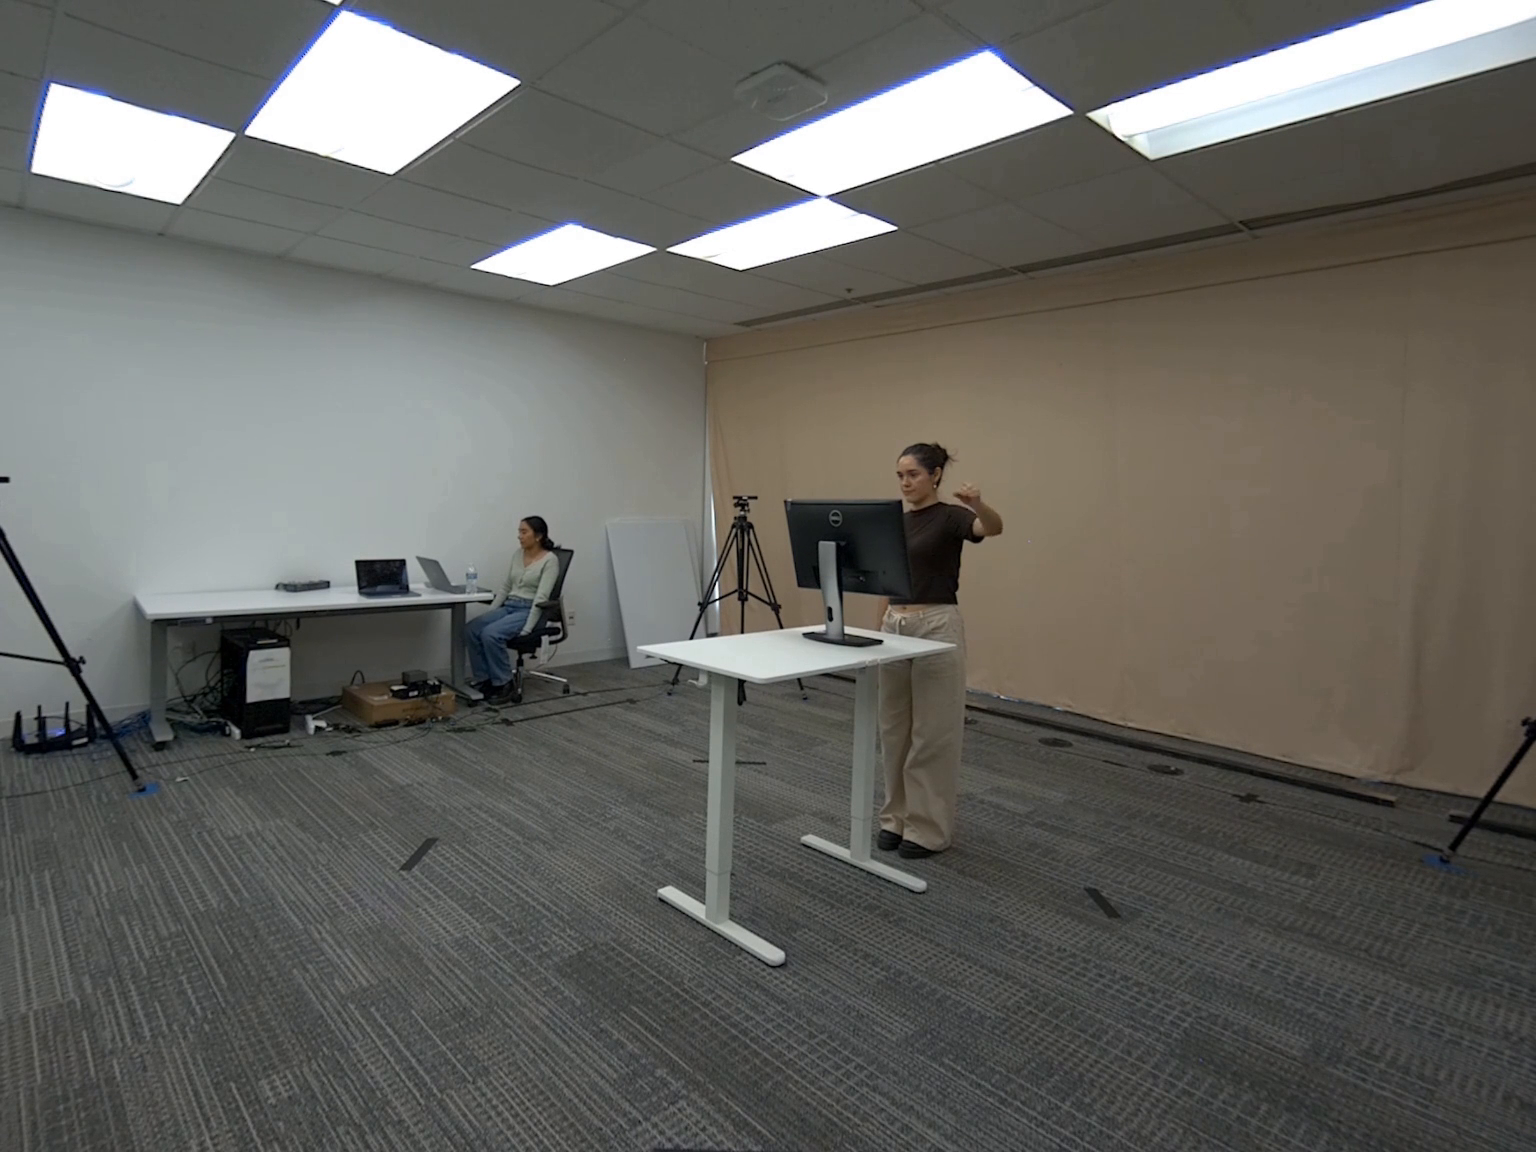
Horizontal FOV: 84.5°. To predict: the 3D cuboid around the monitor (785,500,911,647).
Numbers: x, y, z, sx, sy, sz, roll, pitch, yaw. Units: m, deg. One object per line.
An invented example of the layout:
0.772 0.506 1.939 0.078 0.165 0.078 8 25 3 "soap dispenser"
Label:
0.260 -0.014 3.042 0.553 0.521 0.183 4 7 44 "monitor"
